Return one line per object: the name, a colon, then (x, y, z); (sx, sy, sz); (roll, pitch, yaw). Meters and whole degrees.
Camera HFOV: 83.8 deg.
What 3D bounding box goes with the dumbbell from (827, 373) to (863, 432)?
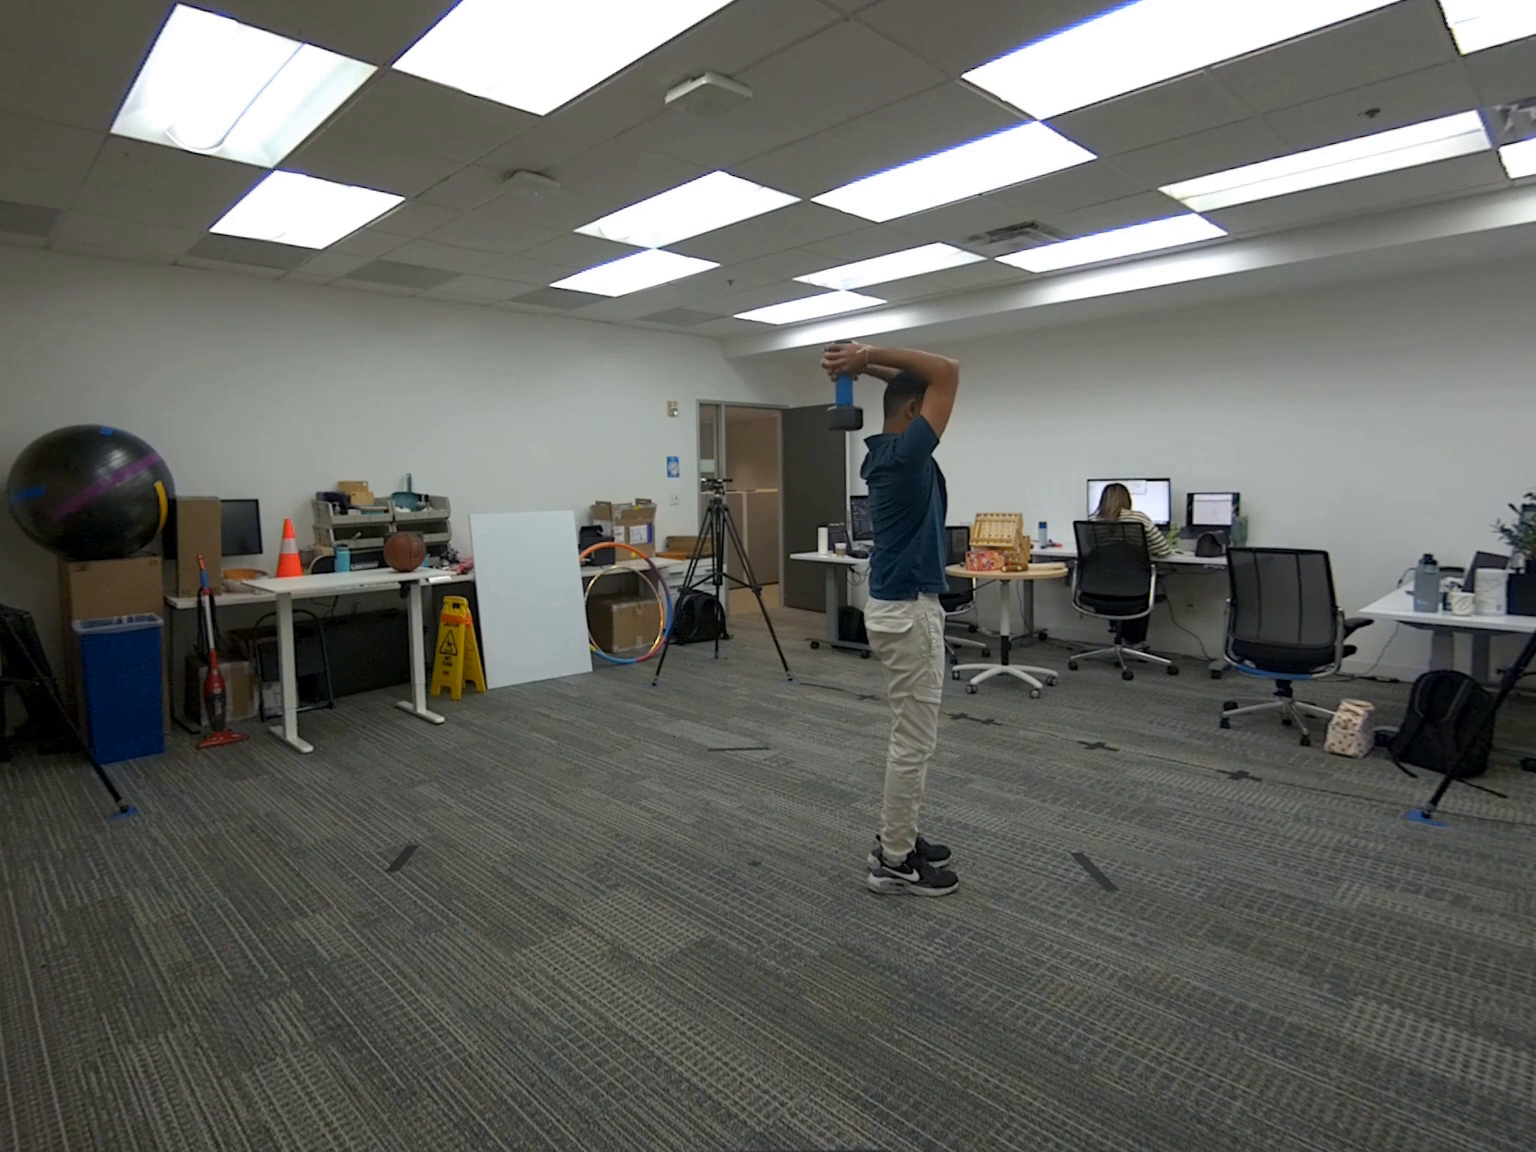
dumbbell: (0.268, -0.633, 2.857); (0.123, 0.293, 0.108); (2, 3, 3)
